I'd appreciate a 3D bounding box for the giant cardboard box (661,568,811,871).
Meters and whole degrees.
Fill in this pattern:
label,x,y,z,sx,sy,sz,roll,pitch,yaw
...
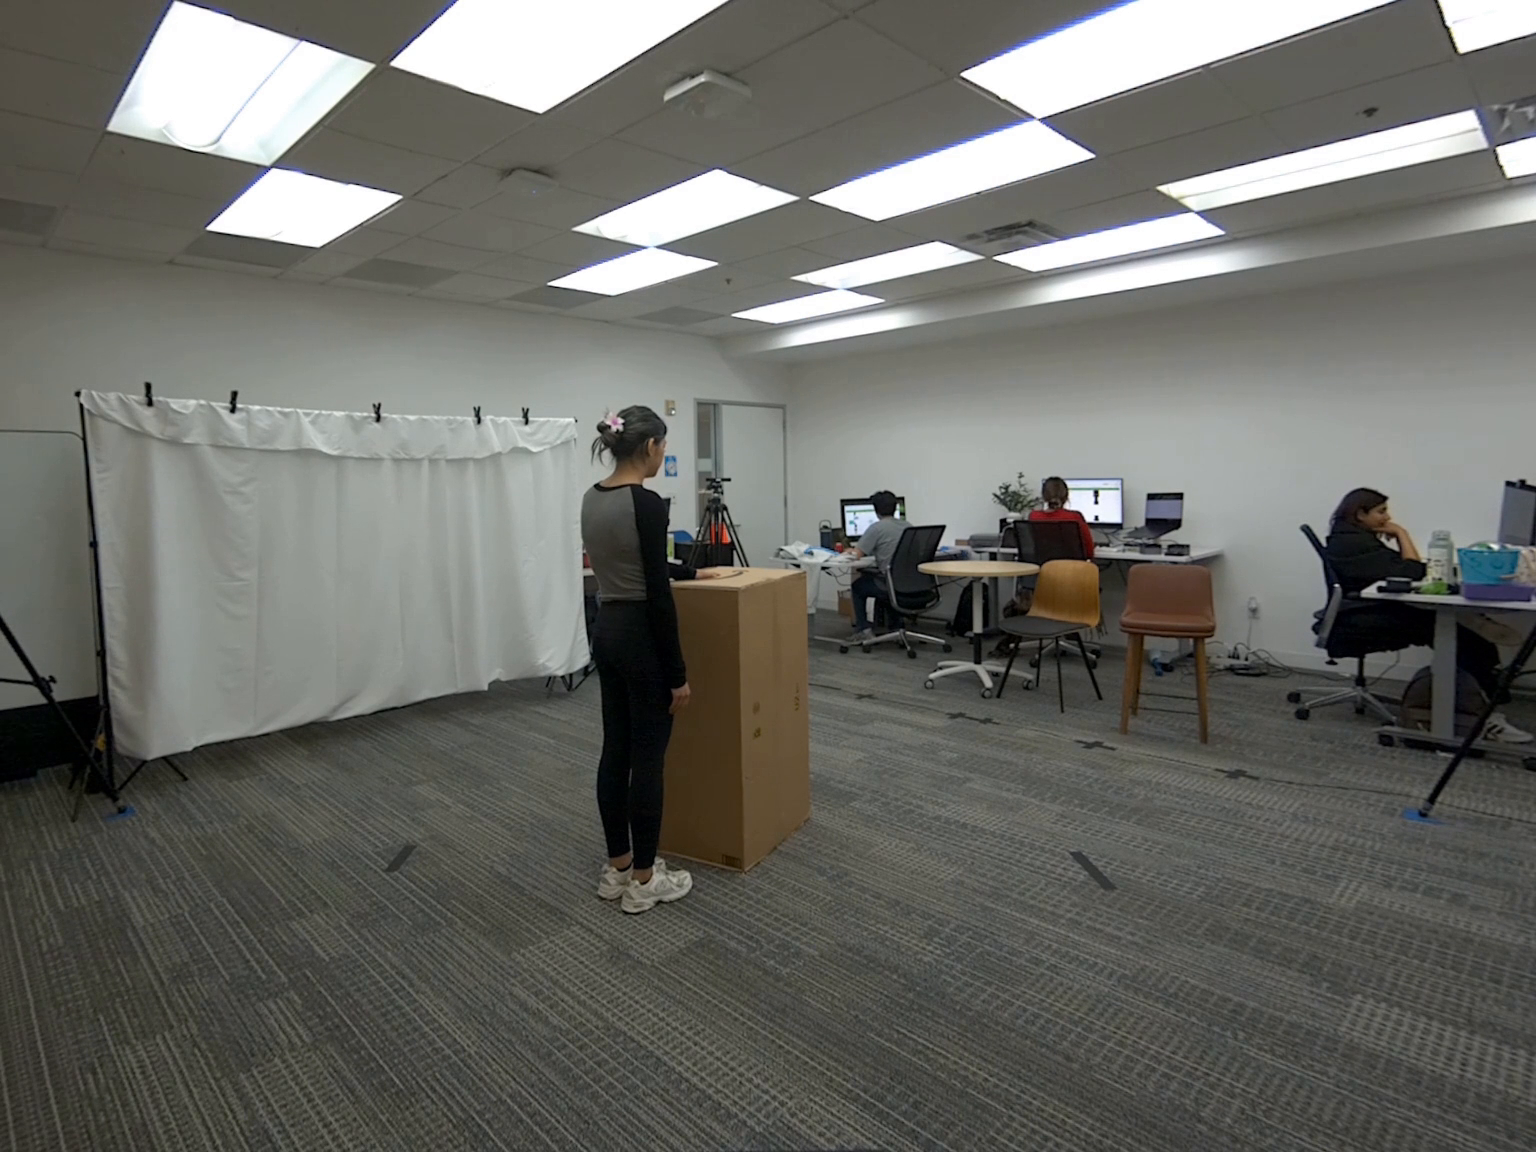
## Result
label,x,y,z,sx,sy,sz,roll,pitch,yaw
giant cardboard box,-0.149,0.511,3.342,0.458,1.023,0.572,2,5,27
